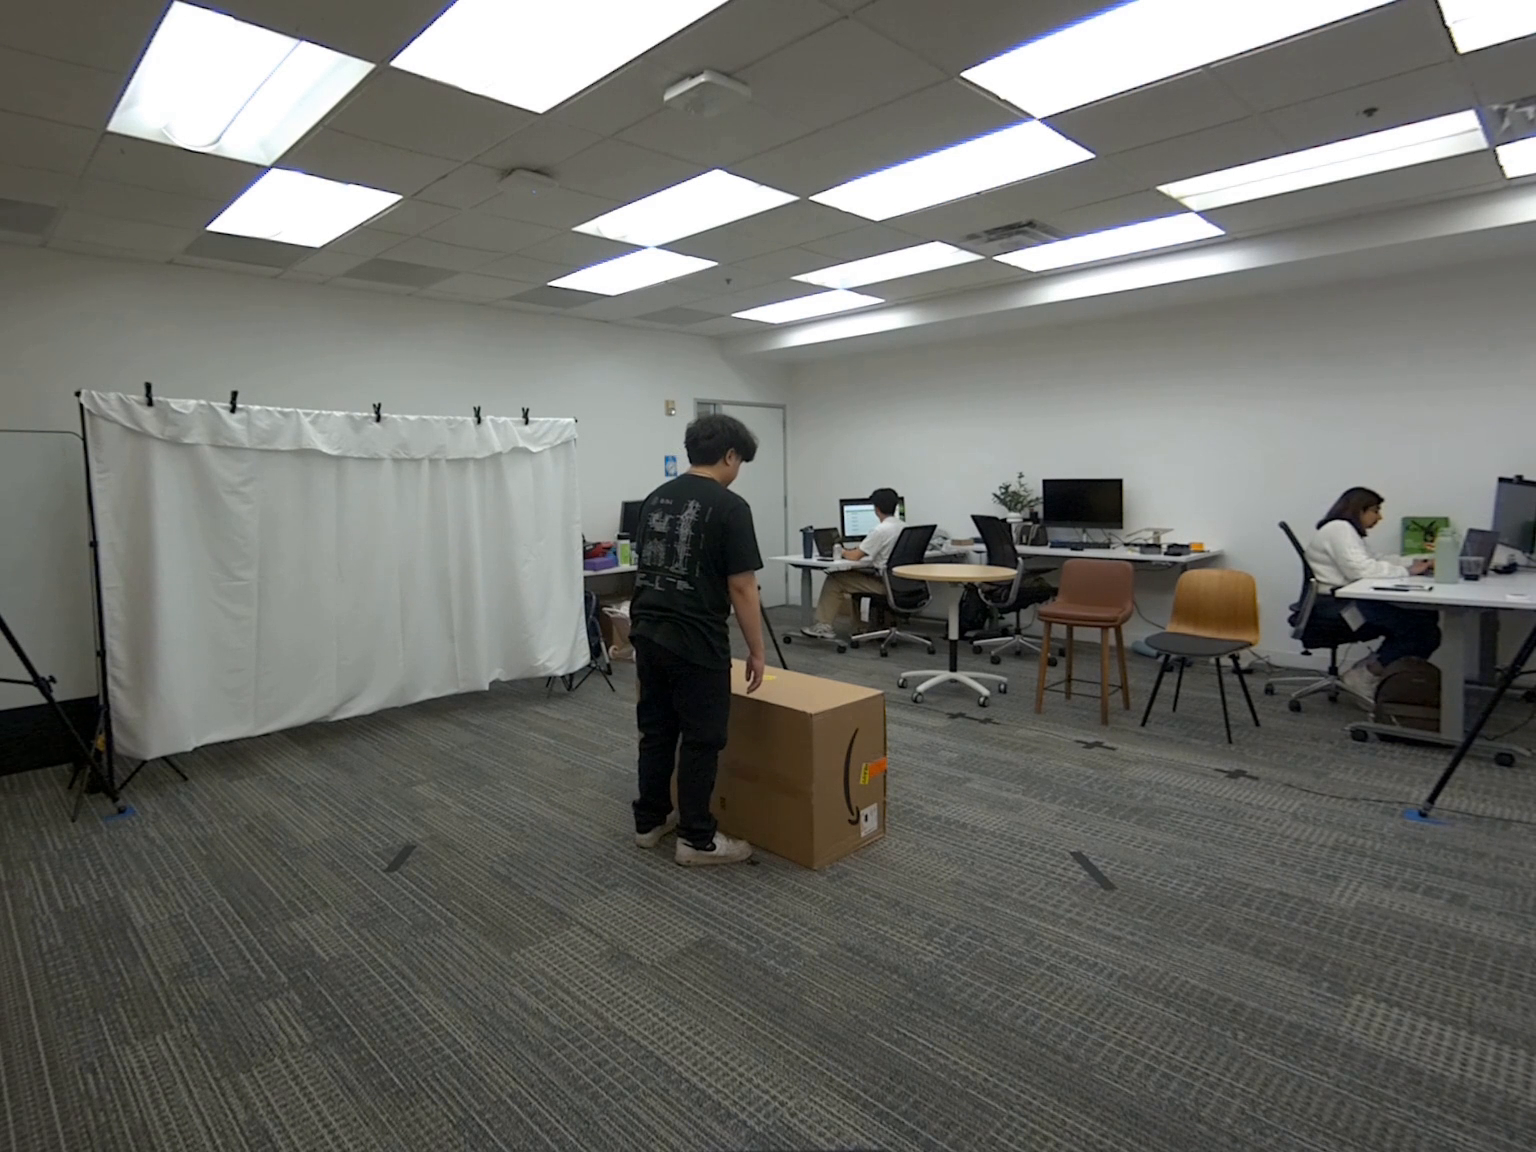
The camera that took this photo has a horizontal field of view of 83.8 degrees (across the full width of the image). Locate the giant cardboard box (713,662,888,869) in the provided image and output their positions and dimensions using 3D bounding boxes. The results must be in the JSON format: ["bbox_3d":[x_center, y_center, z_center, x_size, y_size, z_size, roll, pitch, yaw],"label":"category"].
[{"bbox_3d":[-0.053,0.709,3.531,0.435,0.582,1.059,-4,7,-44],"label":"giant cardboard box"}]
